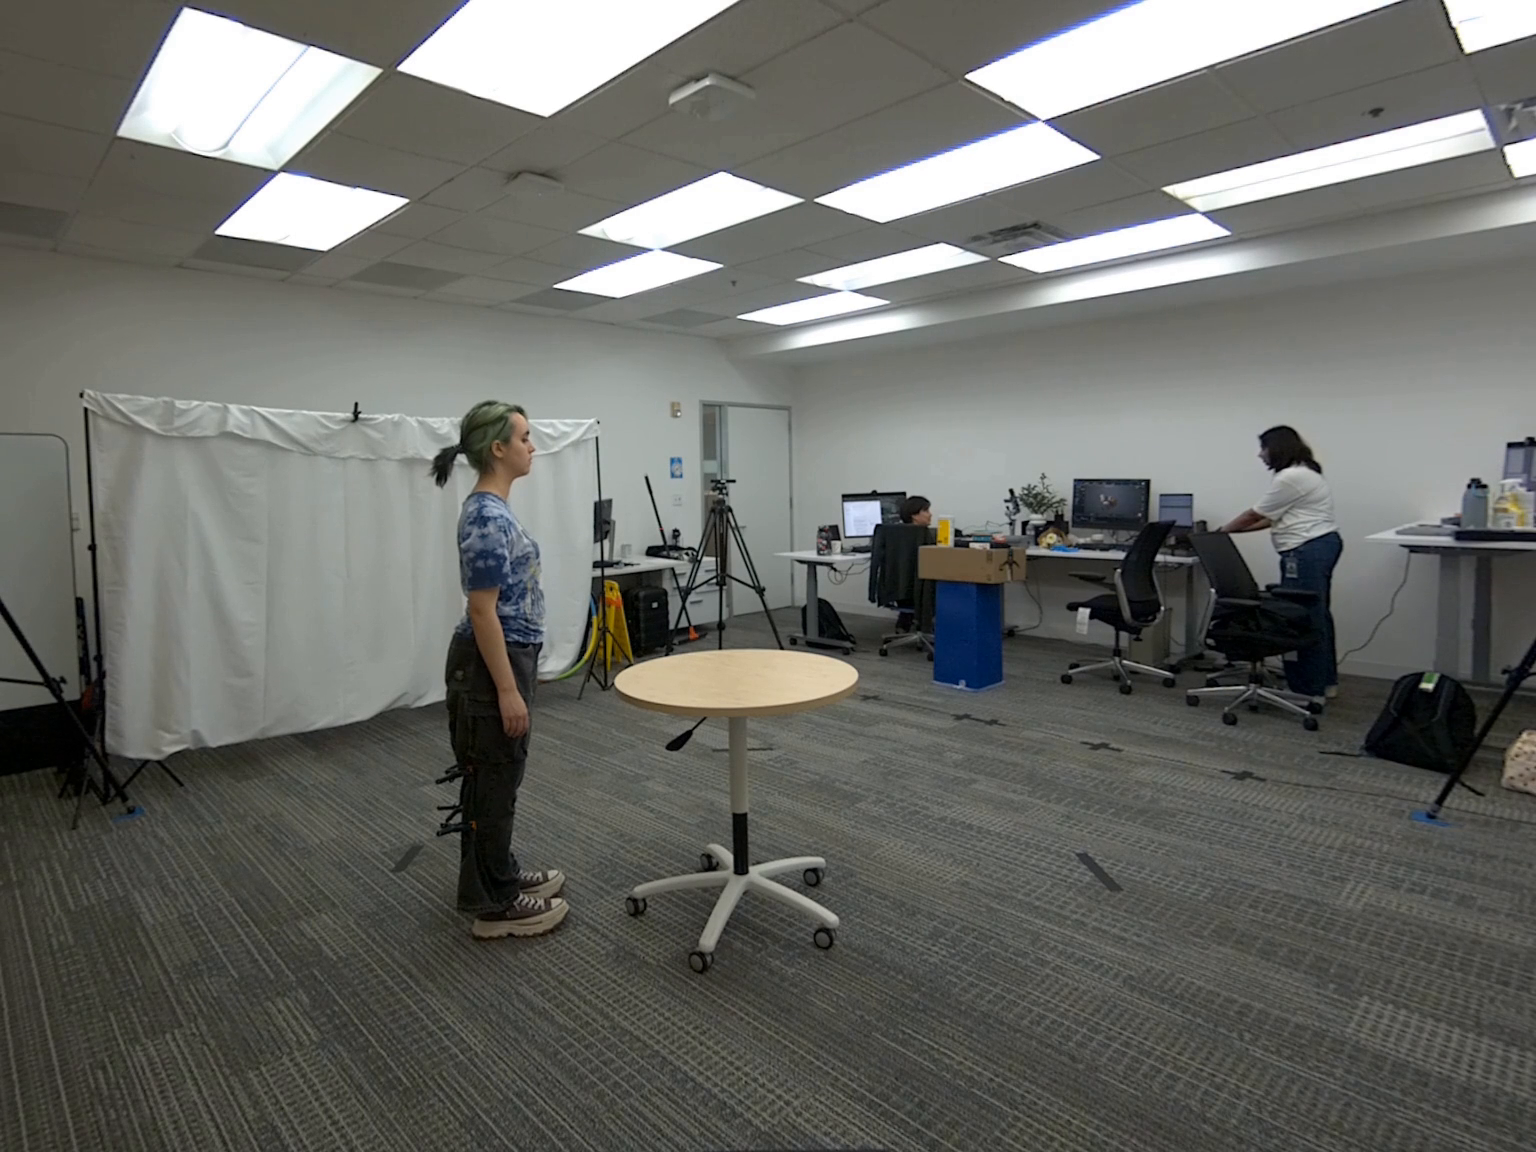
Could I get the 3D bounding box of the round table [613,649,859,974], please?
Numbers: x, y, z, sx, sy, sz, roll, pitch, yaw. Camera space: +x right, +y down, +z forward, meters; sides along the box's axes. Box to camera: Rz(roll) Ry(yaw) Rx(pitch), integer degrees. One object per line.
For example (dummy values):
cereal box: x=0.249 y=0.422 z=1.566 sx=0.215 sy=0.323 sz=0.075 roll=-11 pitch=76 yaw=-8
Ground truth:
round table: x=-0.090 y=0.702 z=2.733 sx=0.763 sy=0.791 sz=0.768 roll=-2 pitch=5 yaw=-2
